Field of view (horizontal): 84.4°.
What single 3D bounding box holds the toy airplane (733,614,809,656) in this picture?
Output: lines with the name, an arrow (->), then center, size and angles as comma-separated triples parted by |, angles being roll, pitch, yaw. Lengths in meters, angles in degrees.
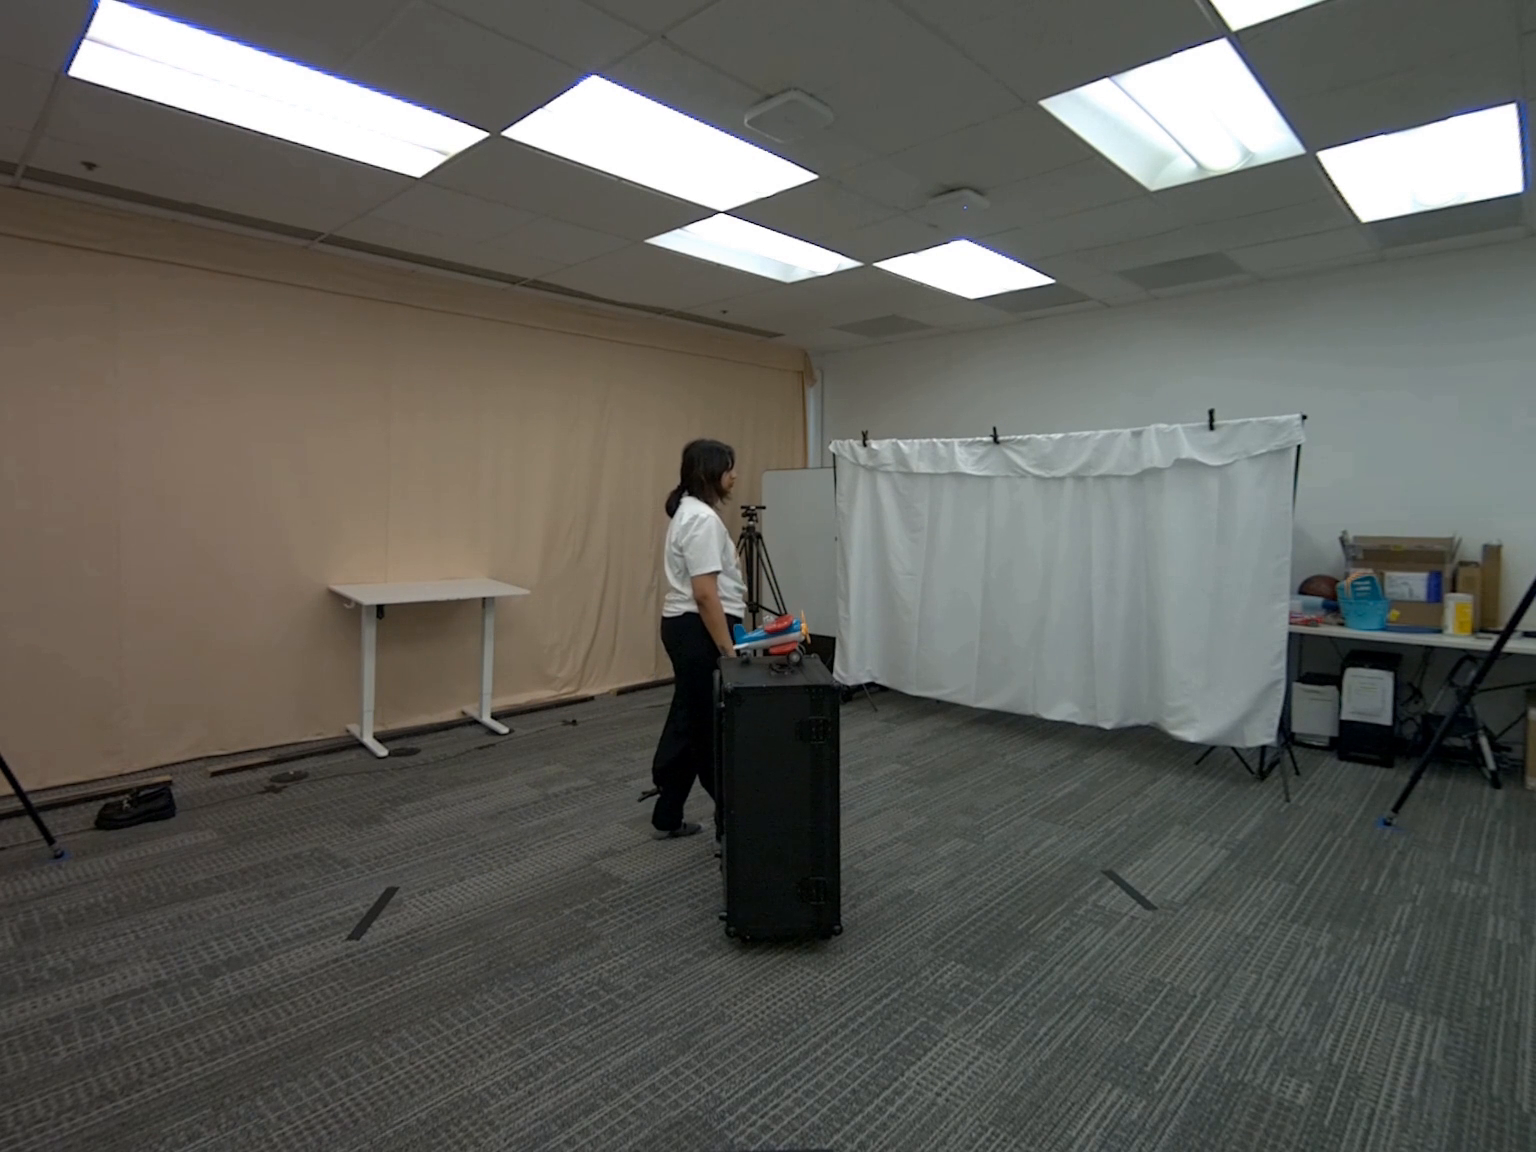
toy airplane -> 0.010, 0.222, 2.906 | 0.255, 0.156, 0.256 | -3, 6, -17
